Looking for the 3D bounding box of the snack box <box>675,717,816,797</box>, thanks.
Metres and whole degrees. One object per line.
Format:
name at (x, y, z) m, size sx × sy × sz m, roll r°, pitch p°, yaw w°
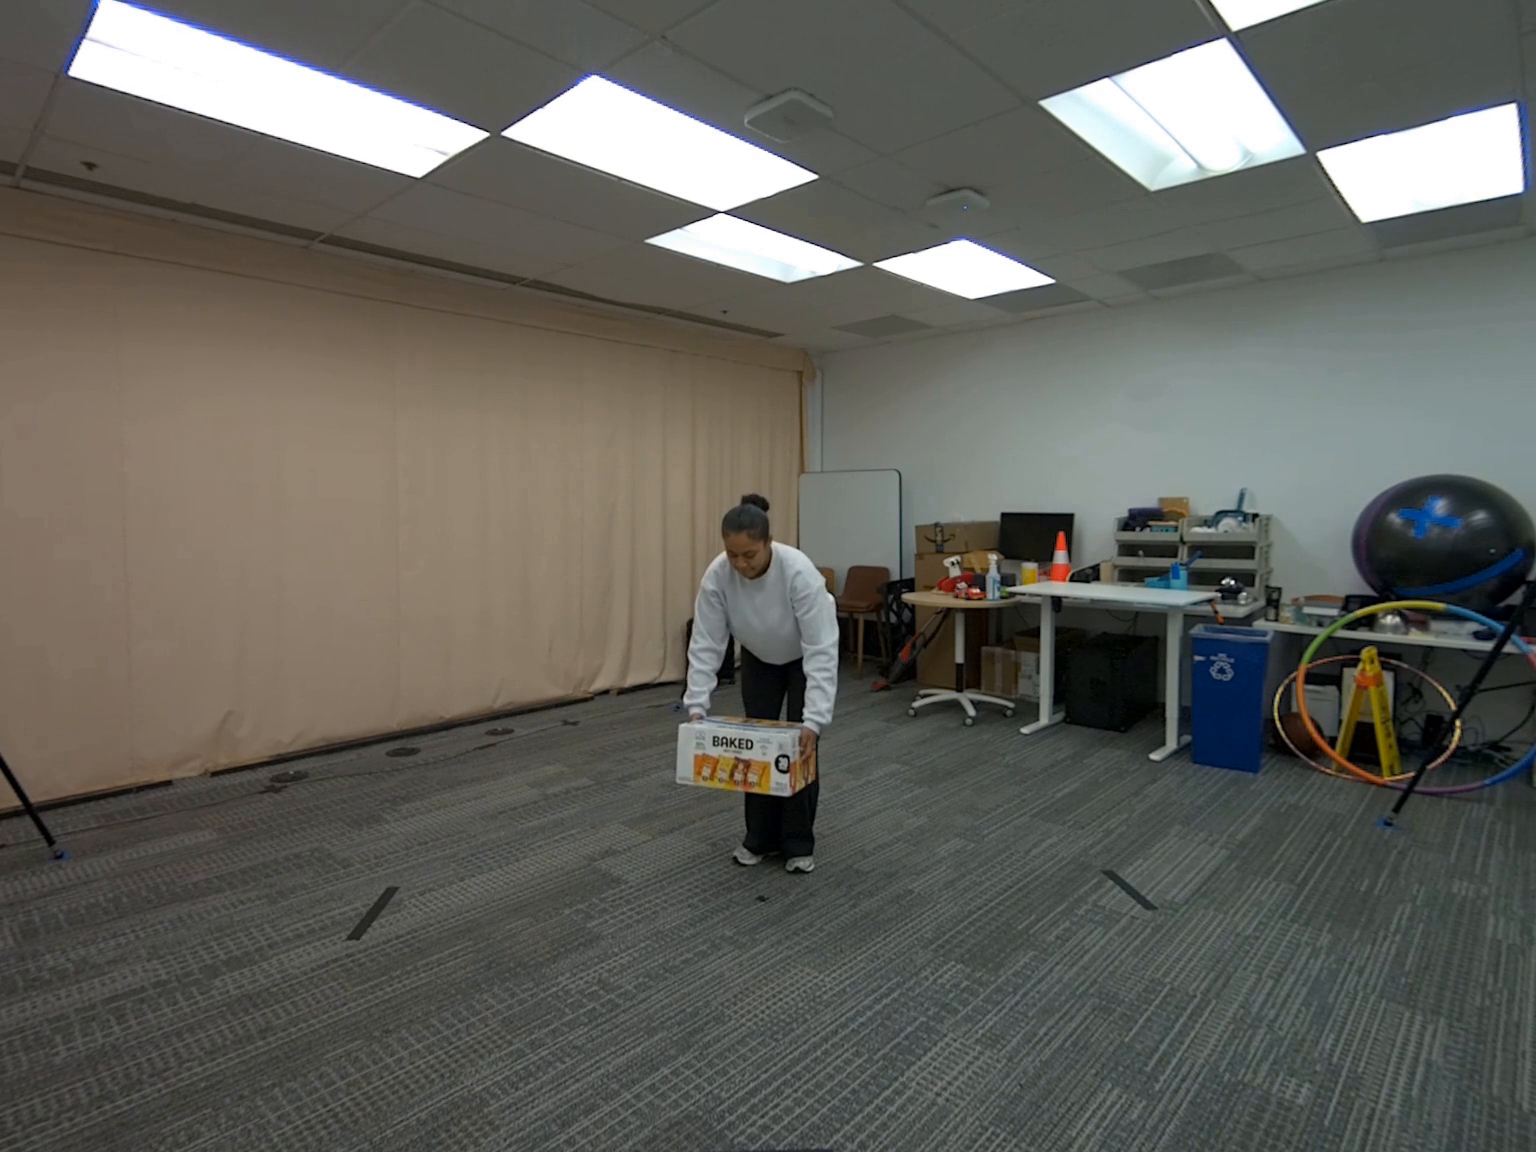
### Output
snack box at (-0.064, 0.624, 2.998) m, size 0.414 × 0.206 × 0.332 m, roll 1°, pitch -3°, yaw 19°
